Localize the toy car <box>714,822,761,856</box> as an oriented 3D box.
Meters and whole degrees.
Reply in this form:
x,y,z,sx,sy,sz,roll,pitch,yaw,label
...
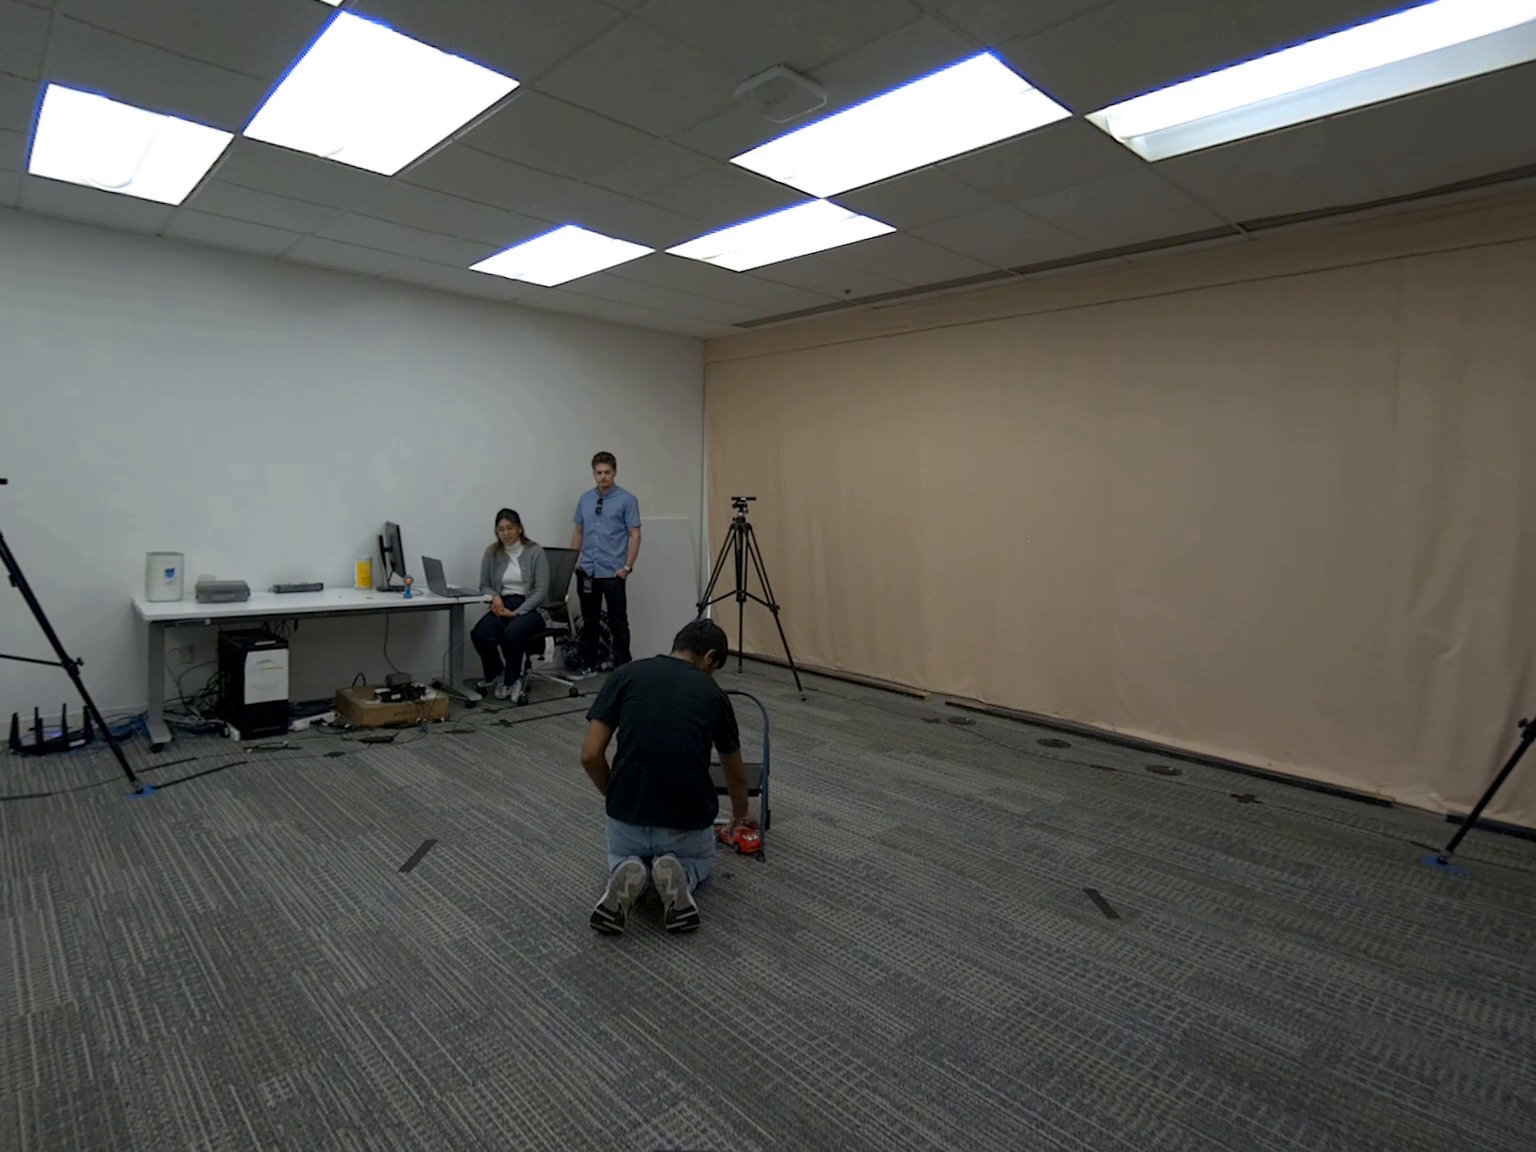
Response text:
x,y,z,sx,sy,sz,roll,pitch,yaw,label
-0.114,1.056,3.366,0.127,0.083,0.259,-2,-6,-35,toy car
